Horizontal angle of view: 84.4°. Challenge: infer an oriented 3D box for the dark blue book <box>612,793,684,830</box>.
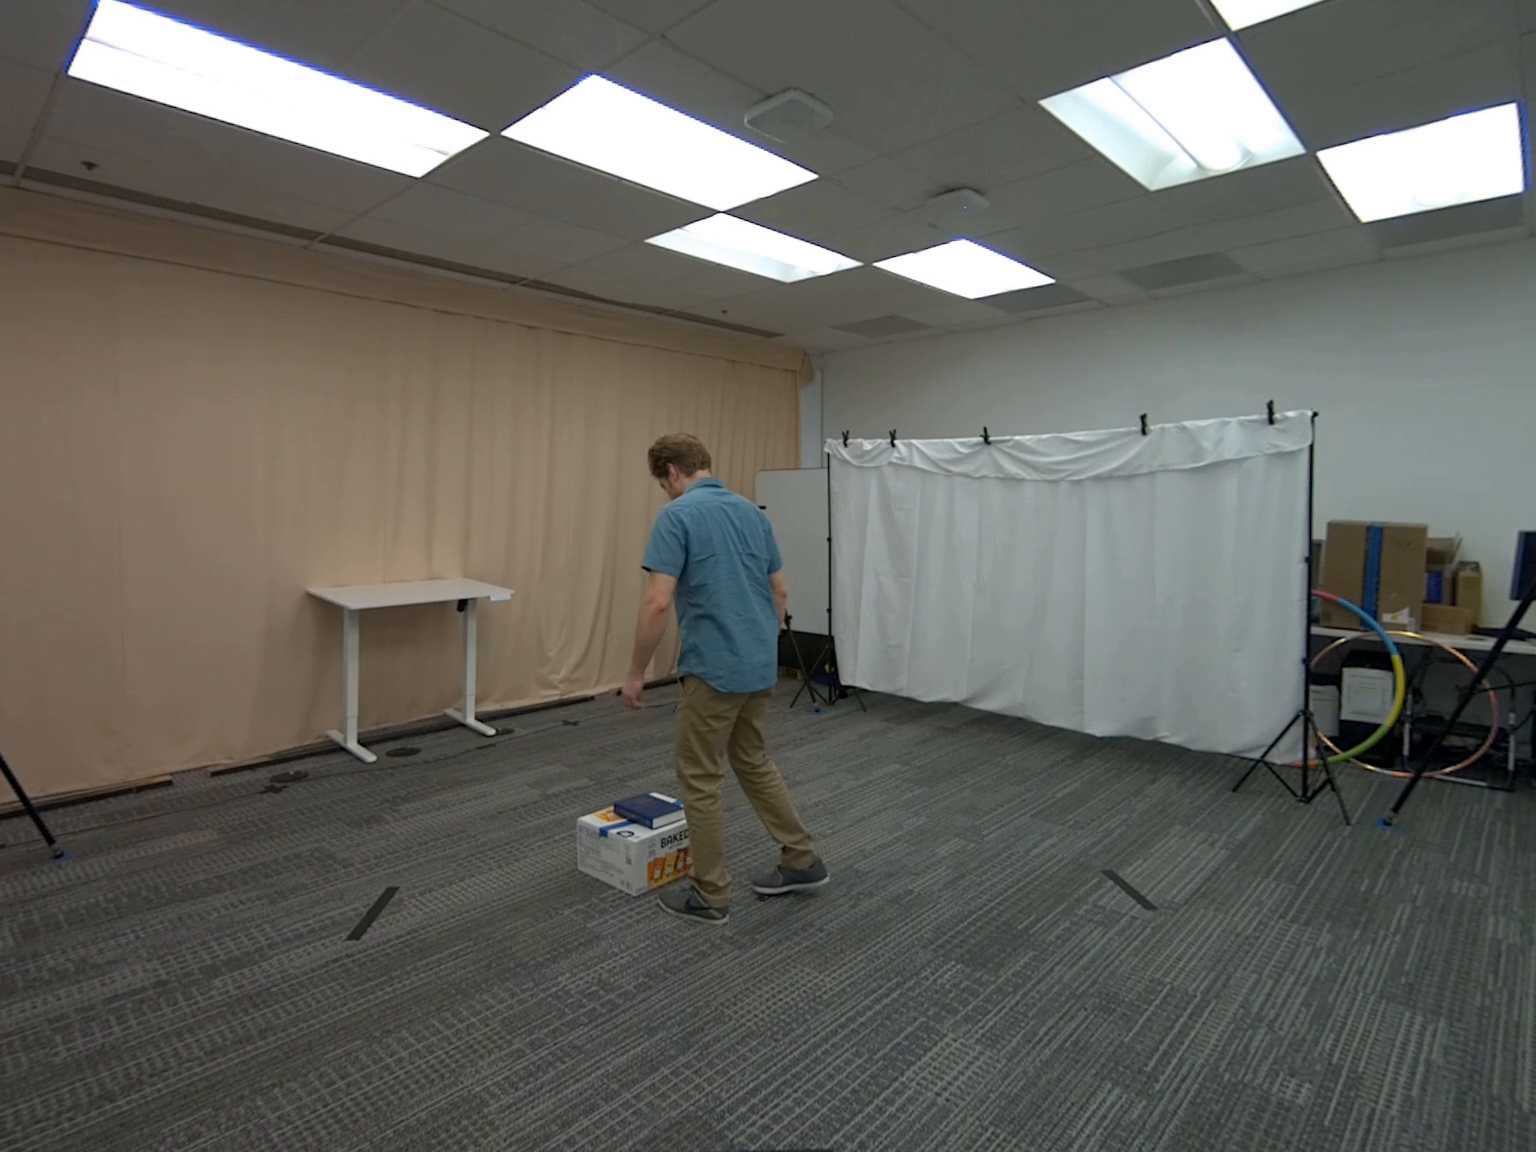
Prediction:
[{"bbox_3d":[-0.464,0.912,3.257,0.253,0.045,0.158,3,6,44],"label":"dark blue book"}]
